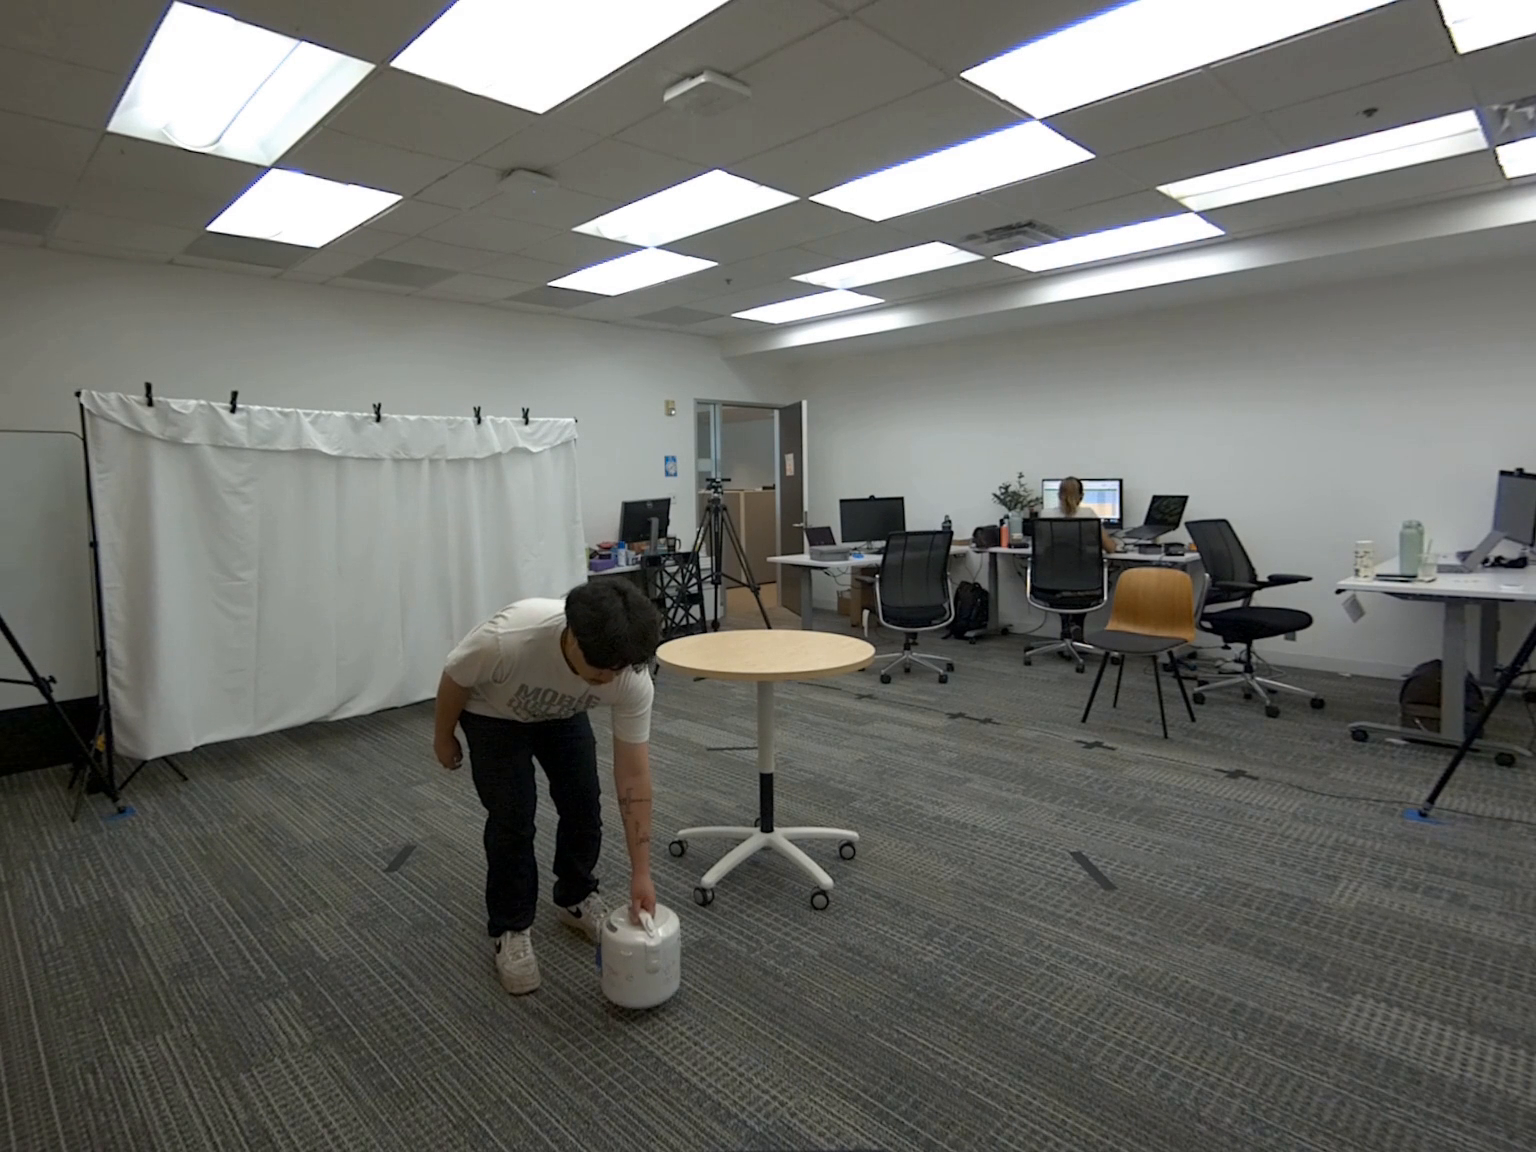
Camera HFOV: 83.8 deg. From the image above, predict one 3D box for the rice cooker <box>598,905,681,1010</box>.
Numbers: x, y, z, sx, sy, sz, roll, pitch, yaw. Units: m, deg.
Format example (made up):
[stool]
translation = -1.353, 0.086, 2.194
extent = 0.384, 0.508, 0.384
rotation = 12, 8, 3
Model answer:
[rice cooker]
translation = -0.332, 0.989, 2.281
extent = 0.213, 0.232, 0.226
rotation = -2, 6, -25
